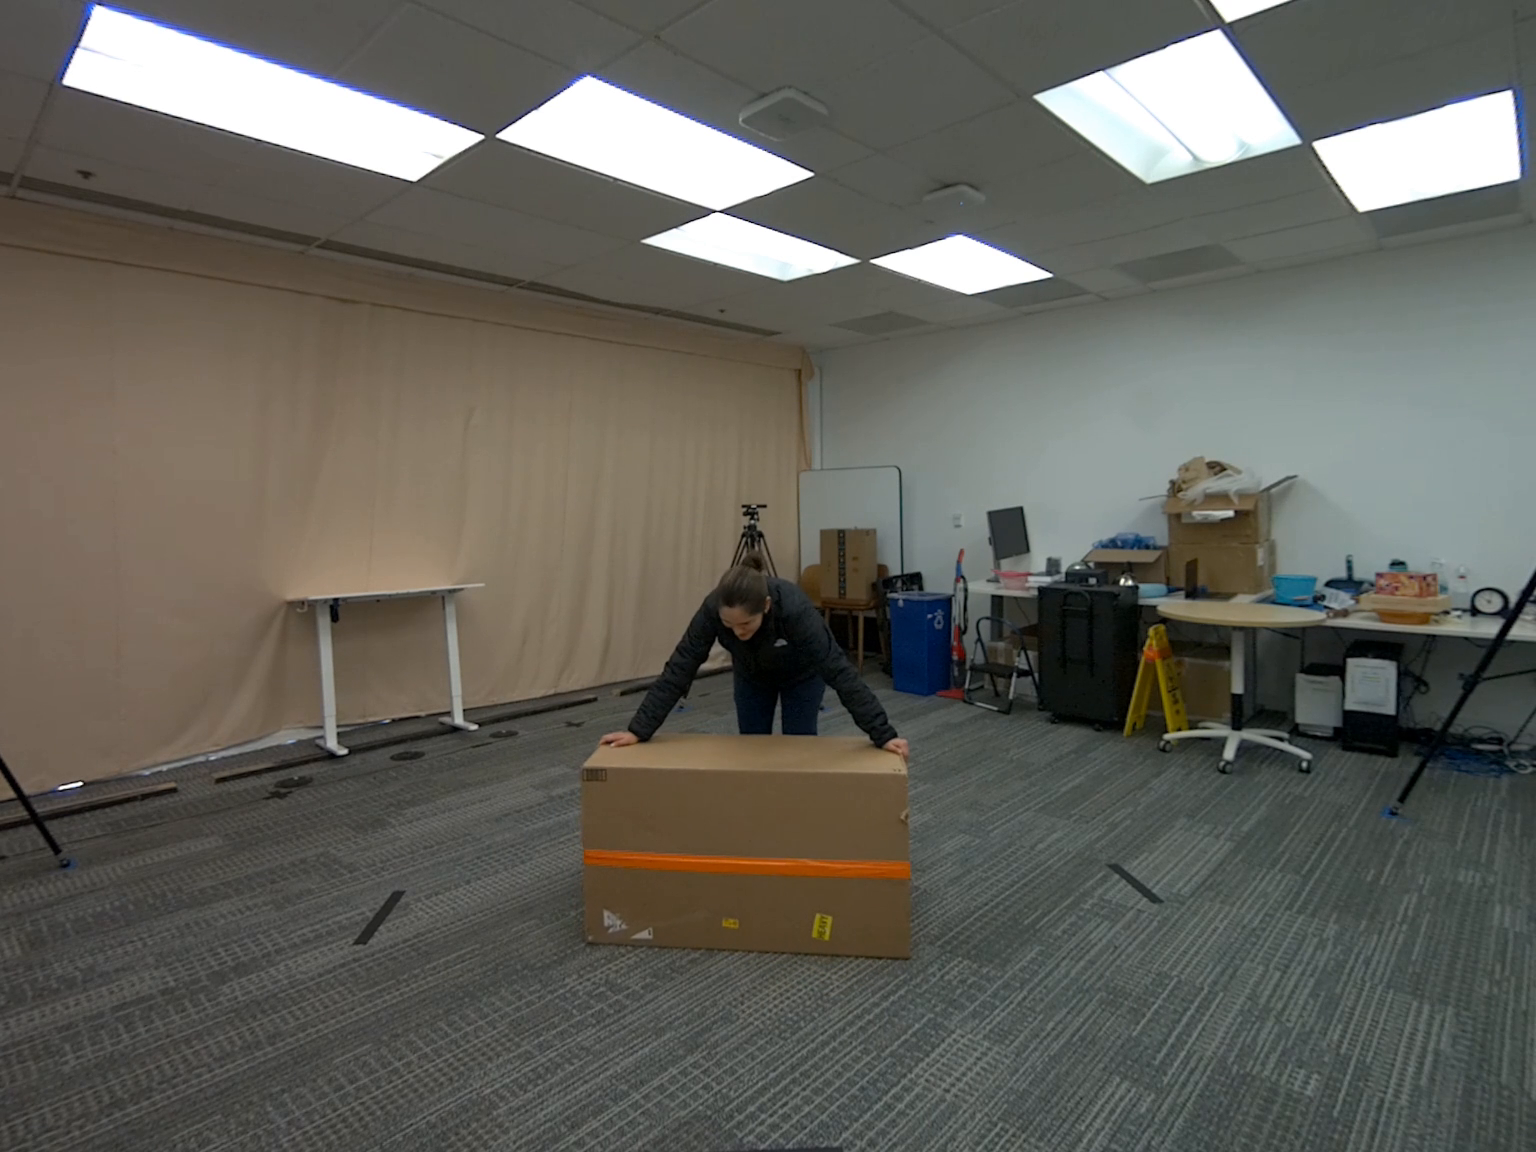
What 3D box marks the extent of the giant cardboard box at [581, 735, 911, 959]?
[{"bbox_3d":[-0.049,0.870,2.813,1.036,0.583,0.443,0,2,7],"label":"giant cardboard box"}]
